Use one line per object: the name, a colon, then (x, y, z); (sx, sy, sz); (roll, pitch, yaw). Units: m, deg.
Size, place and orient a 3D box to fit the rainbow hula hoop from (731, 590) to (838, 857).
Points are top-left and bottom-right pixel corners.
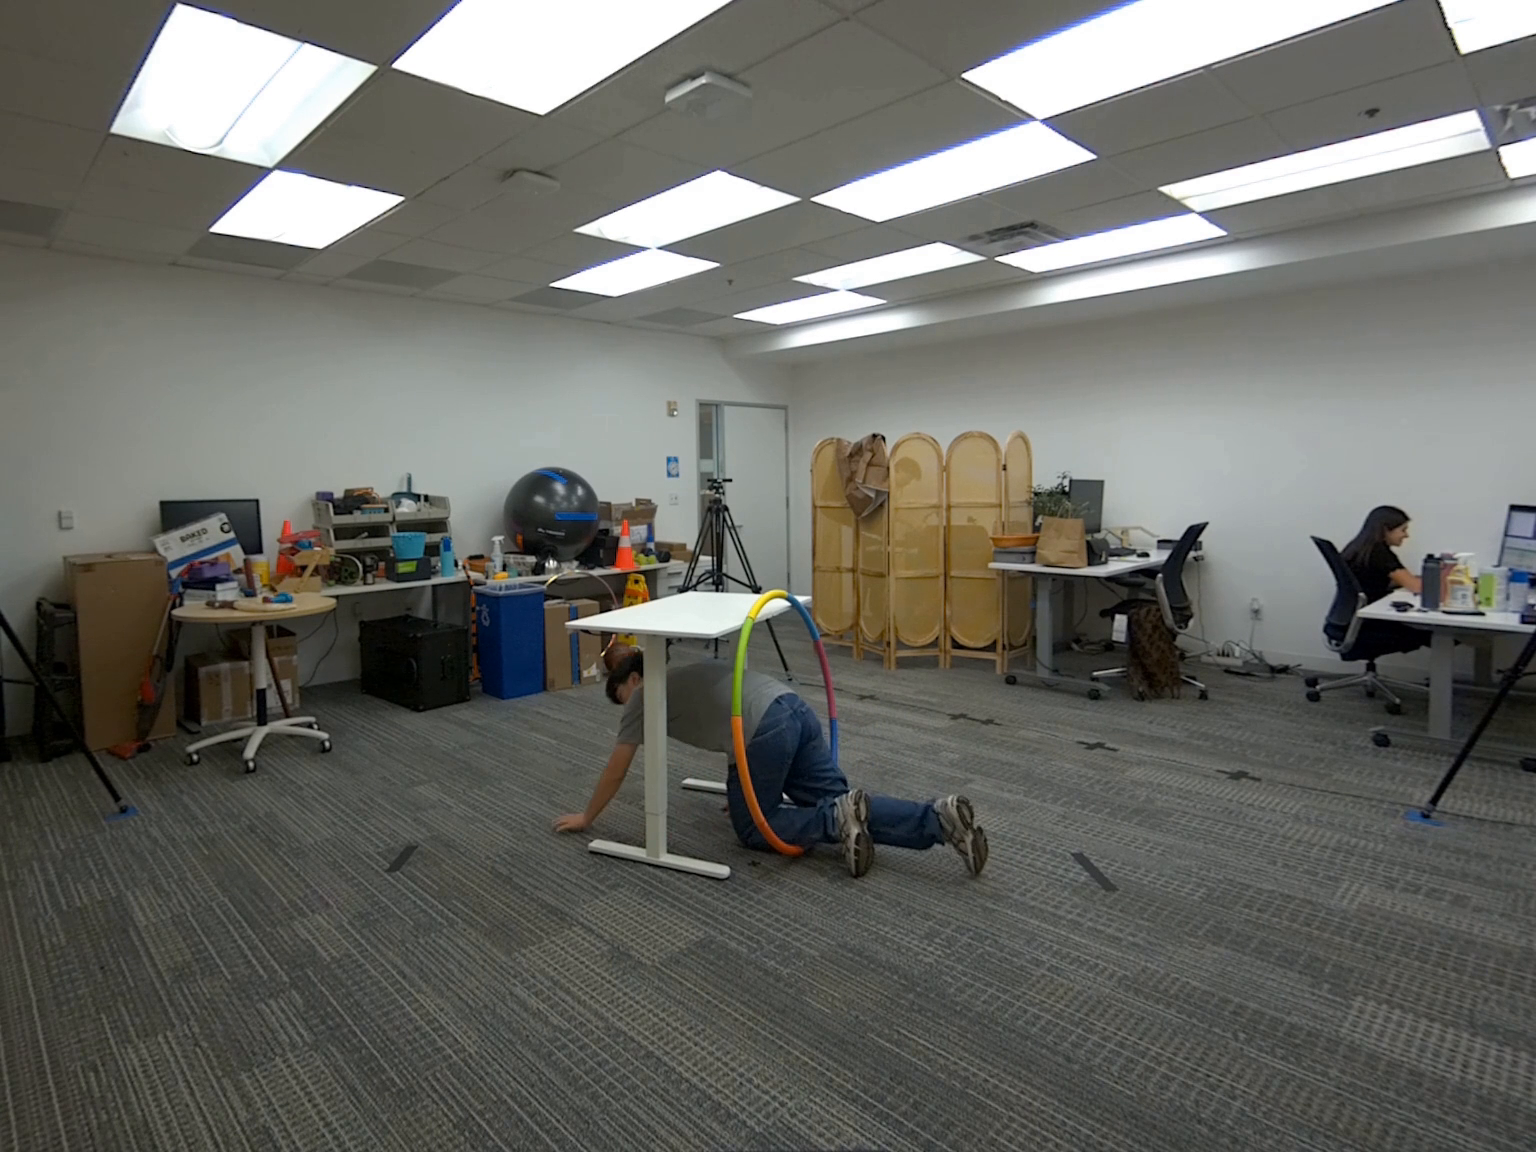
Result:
rainbow hula hoop: (0.087, 0.545, 3.262); (0.036, 0.979, 0.962); (-10, 1, 22)
